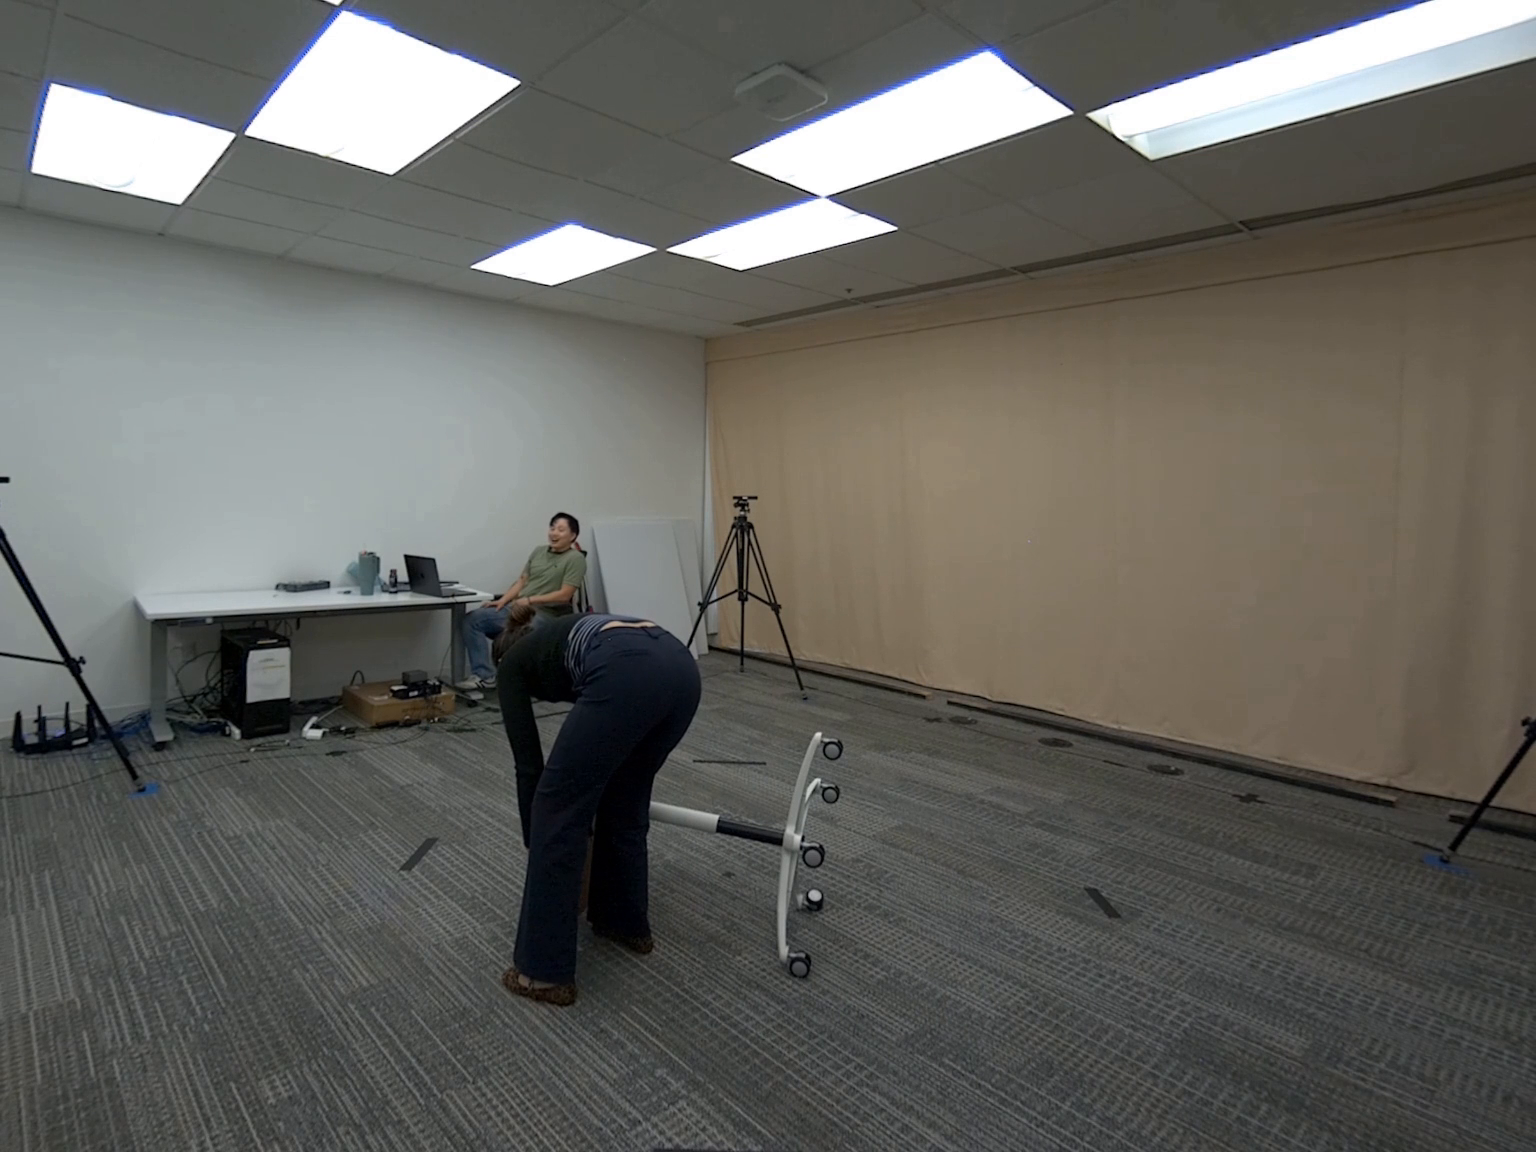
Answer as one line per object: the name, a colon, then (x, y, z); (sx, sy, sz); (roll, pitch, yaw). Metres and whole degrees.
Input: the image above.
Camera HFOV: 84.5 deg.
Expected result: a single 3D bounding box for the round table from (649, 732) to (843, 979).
round table: (-0.204, 0.802, 2.721); (0.801, 0.761, 0.759); (9, 5, 9)
